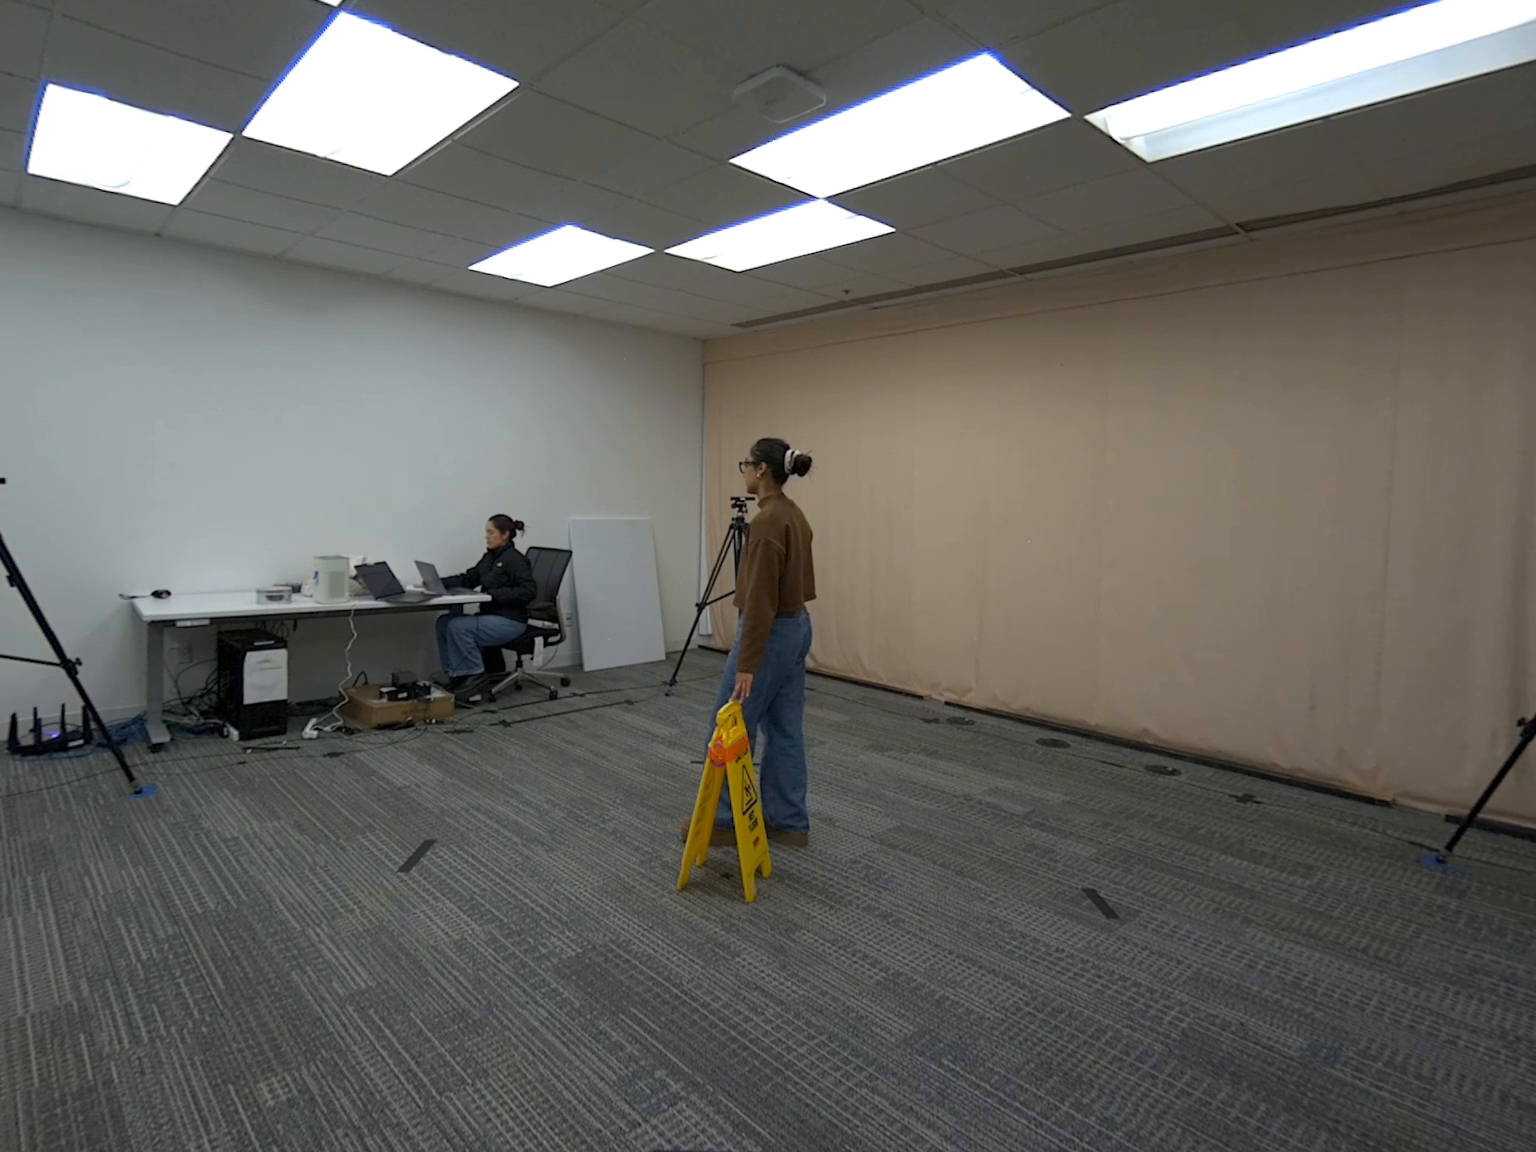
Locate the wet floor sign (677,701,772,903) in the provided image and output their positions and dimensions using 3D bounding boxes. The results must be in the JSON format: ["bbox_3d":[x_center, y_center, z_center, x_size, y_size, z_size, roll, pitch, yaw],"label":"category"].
[{"bbox_3d":[-0.156,0.789,3.045,0.294,0.644,0.279,3,4,17],"label":"wet floor sign"}]
